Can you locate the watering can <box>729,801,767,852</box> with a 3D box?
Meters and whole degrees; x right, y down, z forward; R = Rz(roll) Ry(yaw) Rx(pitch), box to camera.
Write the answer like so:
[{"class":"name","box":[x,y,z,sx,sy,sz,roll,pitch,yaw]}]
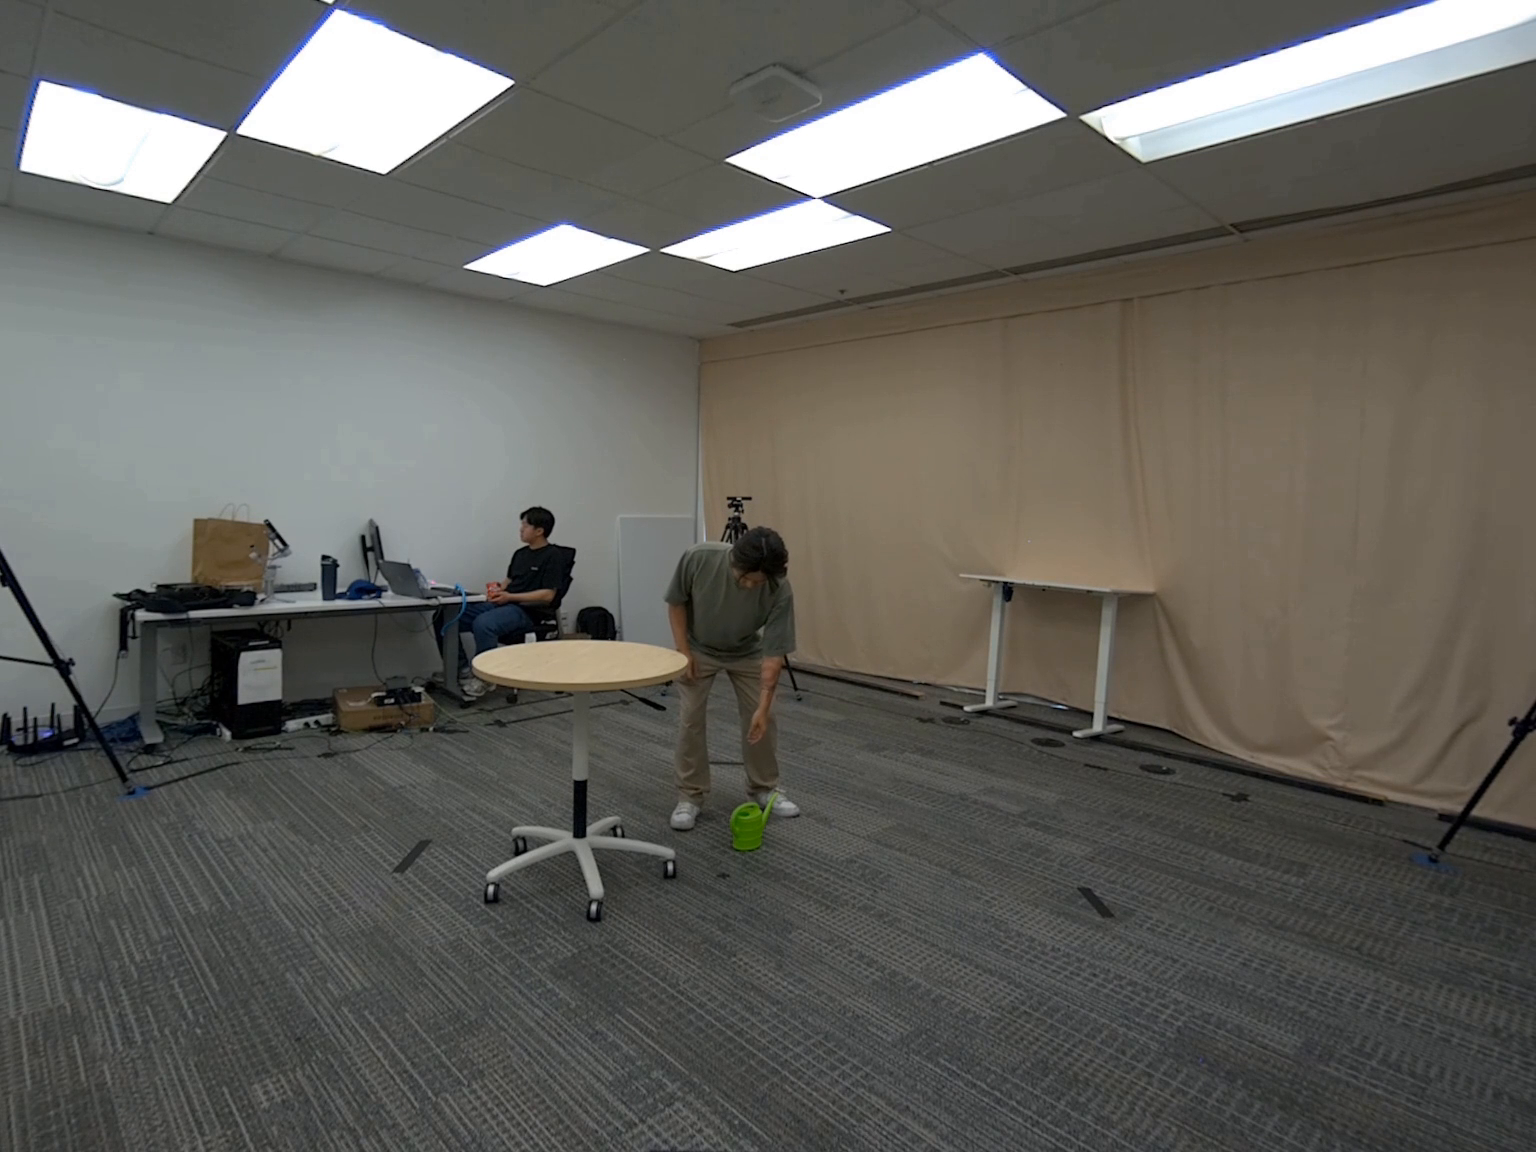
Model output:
[{"class":"watering can","box":[-0.060,0.991,3.390,0.272,0.176,0.100,-3,5,-34]}]
